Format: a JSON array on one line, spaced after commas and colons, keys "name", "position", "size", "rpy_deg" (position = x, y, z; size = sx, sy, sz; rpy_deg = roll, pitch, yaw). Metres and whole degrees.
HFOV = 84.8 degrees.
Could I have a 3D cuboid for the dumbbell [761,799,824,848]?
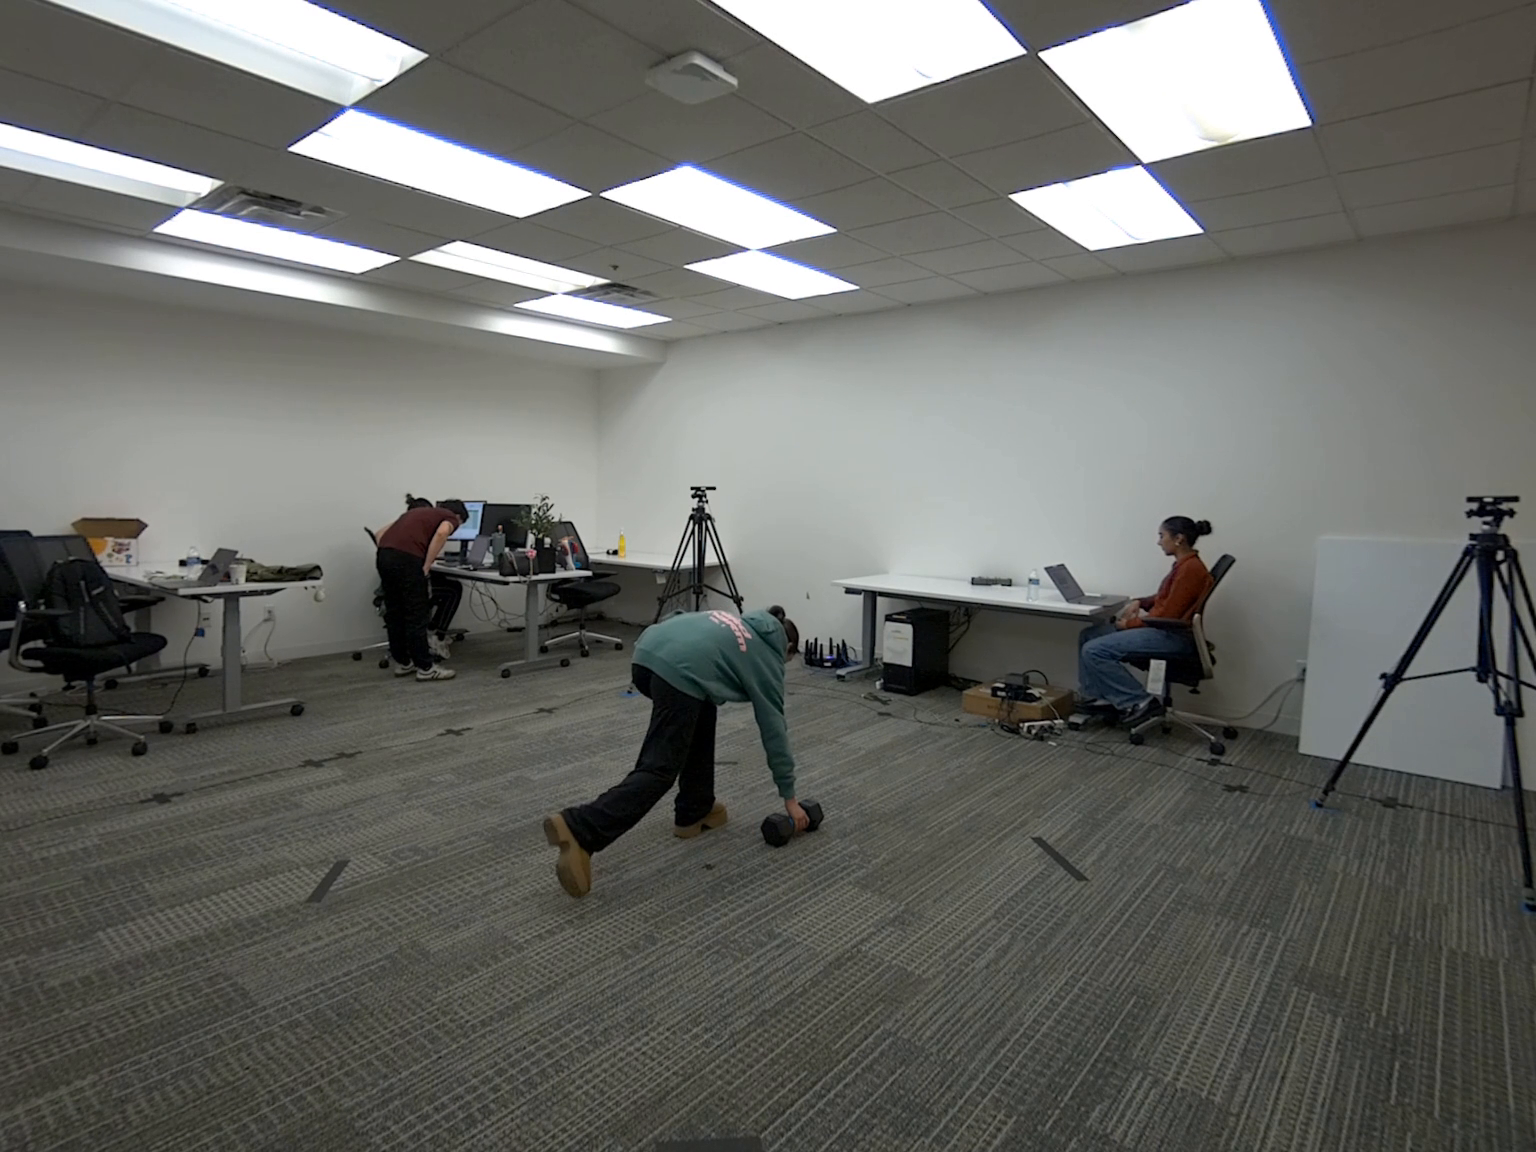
[{"name": "dumbbell", "position": [0.095, 0.989, 3.416], "size": [0.285, 0.122, 0.113], "rpy_deg": [-4, 39, -48]}]
